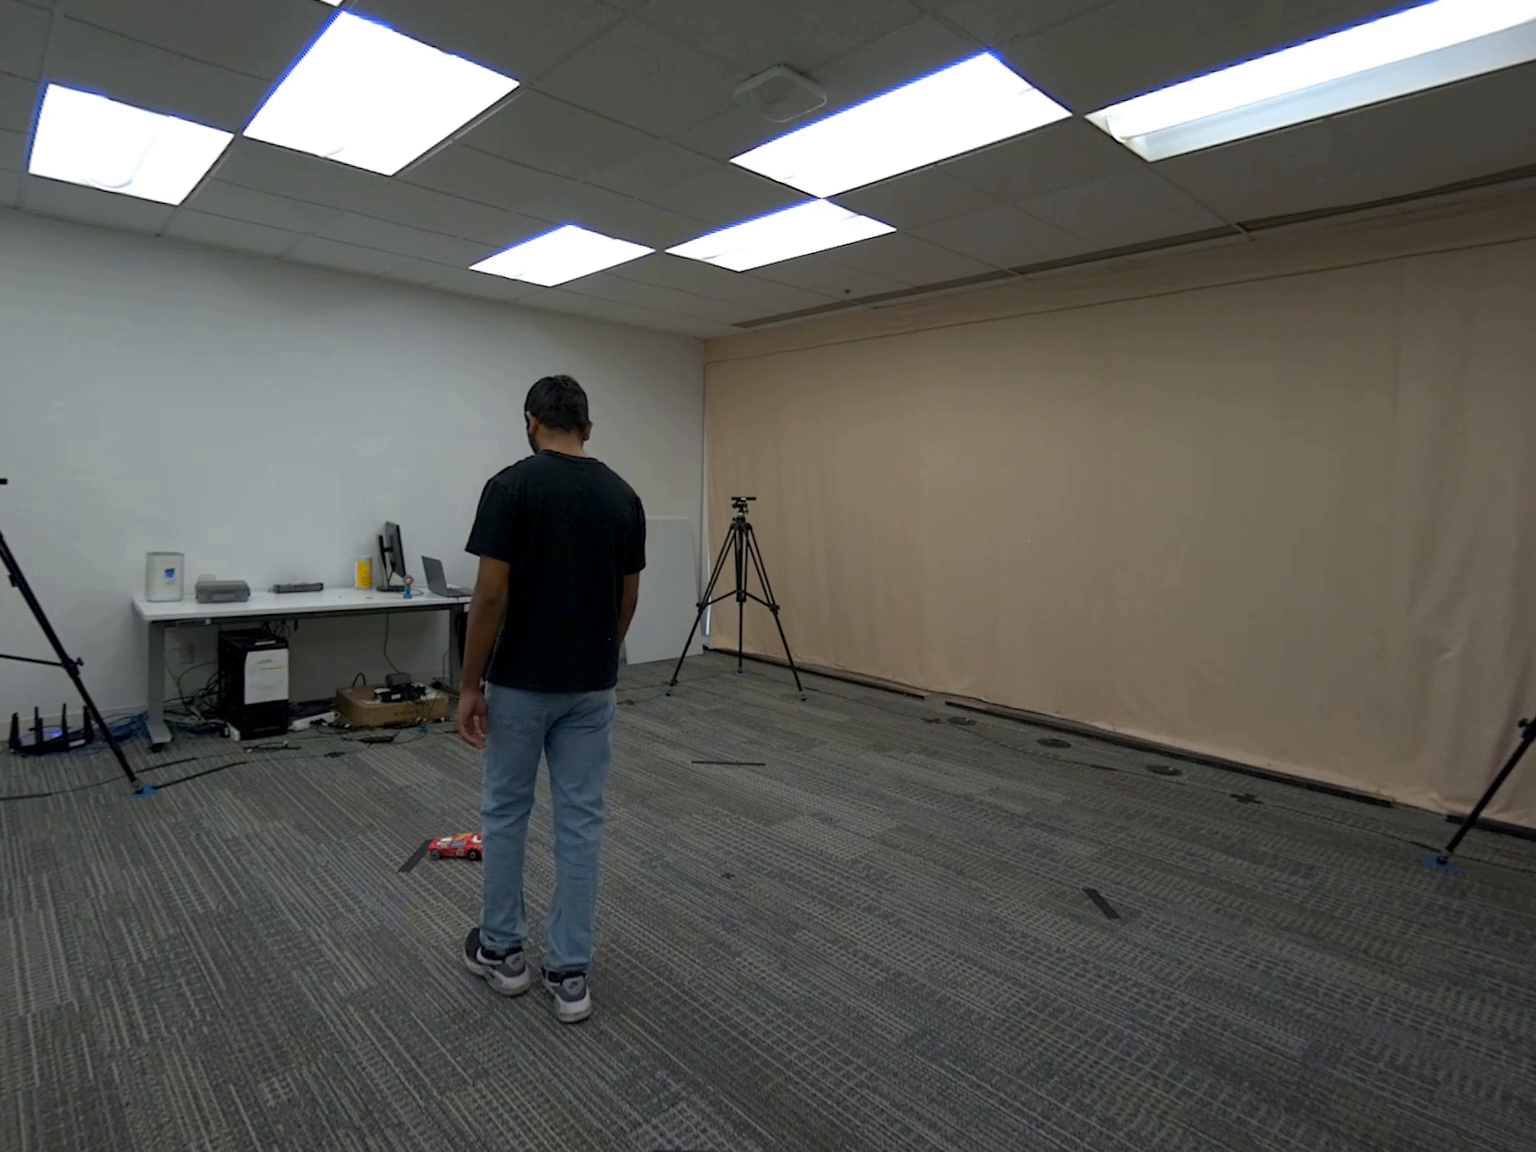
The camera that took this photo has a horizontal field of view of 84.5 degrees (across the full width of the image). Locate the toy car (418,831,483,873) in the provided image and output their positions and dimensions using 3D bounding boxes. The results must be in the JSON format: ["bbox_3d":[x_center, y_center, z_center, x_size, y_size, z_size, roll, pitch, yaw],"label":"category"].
[{"bbox_3d":[-1.178,1.047,3.230,0.255,0.083,0.130,-9,4,3],"label":"toy car"}]
